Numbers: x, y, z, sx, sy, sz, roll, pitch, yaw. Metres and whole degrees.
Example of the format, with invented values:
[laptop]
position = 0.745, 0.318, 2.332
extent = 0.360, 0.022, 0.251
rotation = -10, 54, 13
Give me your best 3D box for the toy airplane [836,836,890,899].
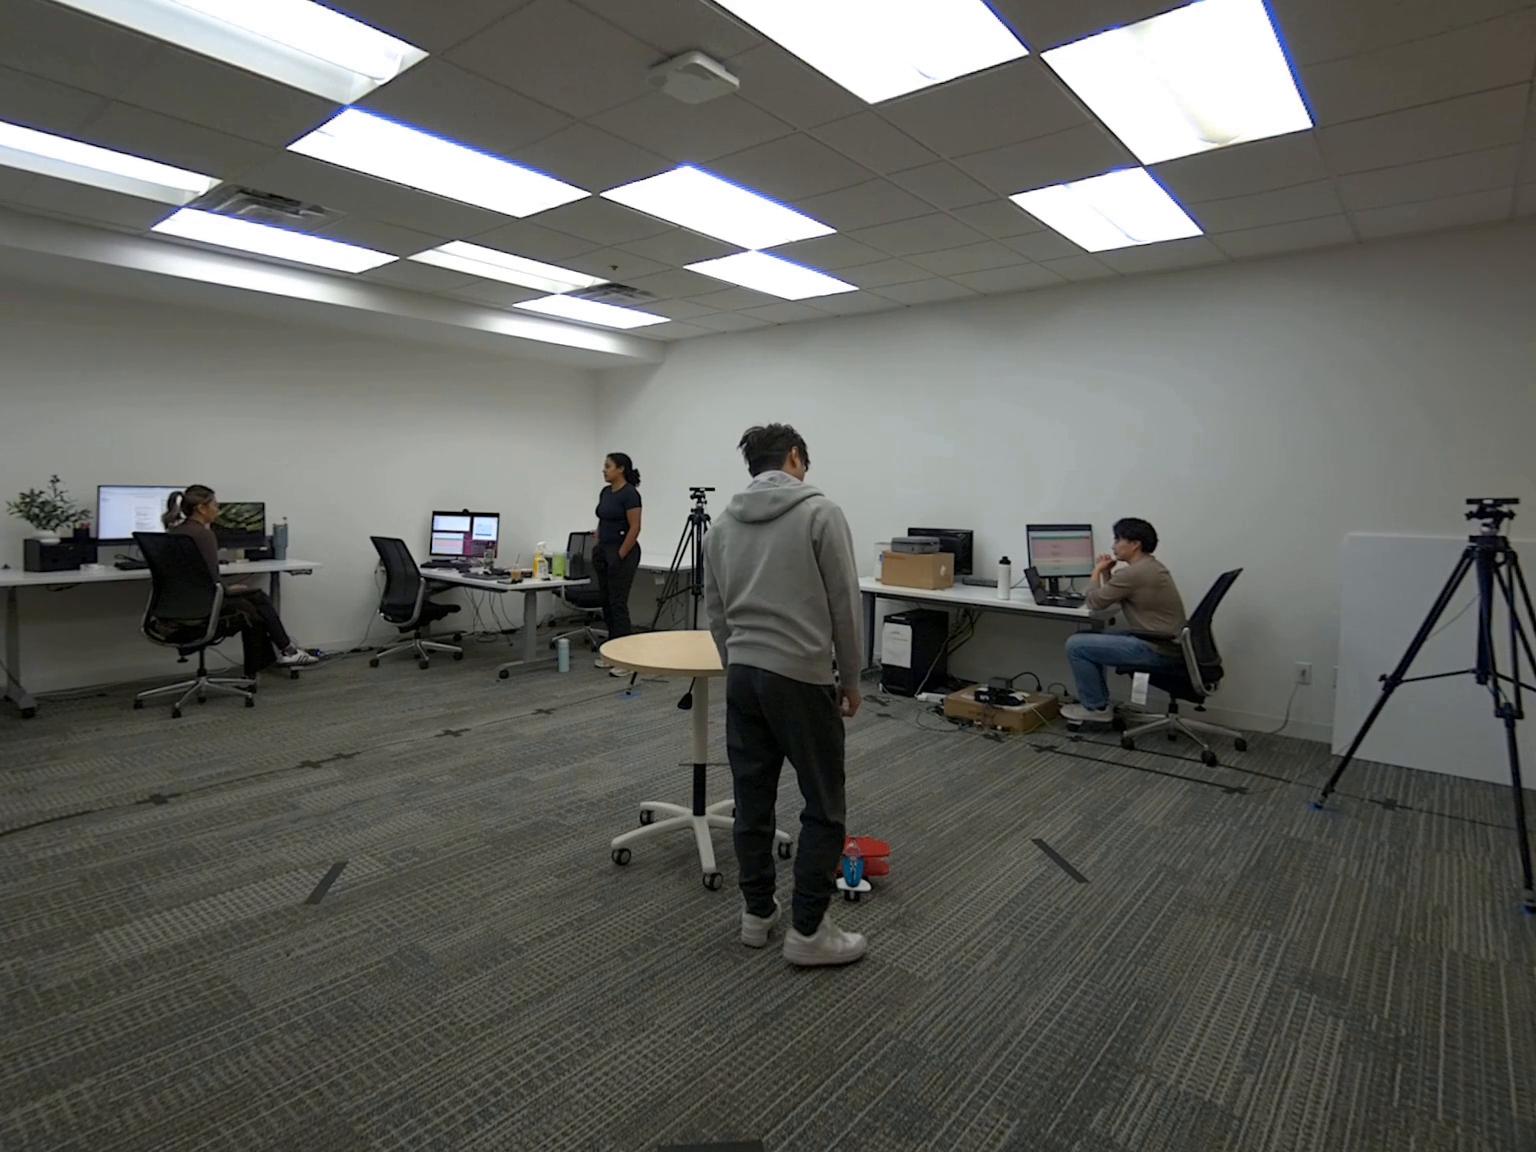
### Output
[toy airplane]
position = 0.304, 1.014, 2.983
extent = 0.246, 0.156, 0.265
rotation = -1, 5, -21
